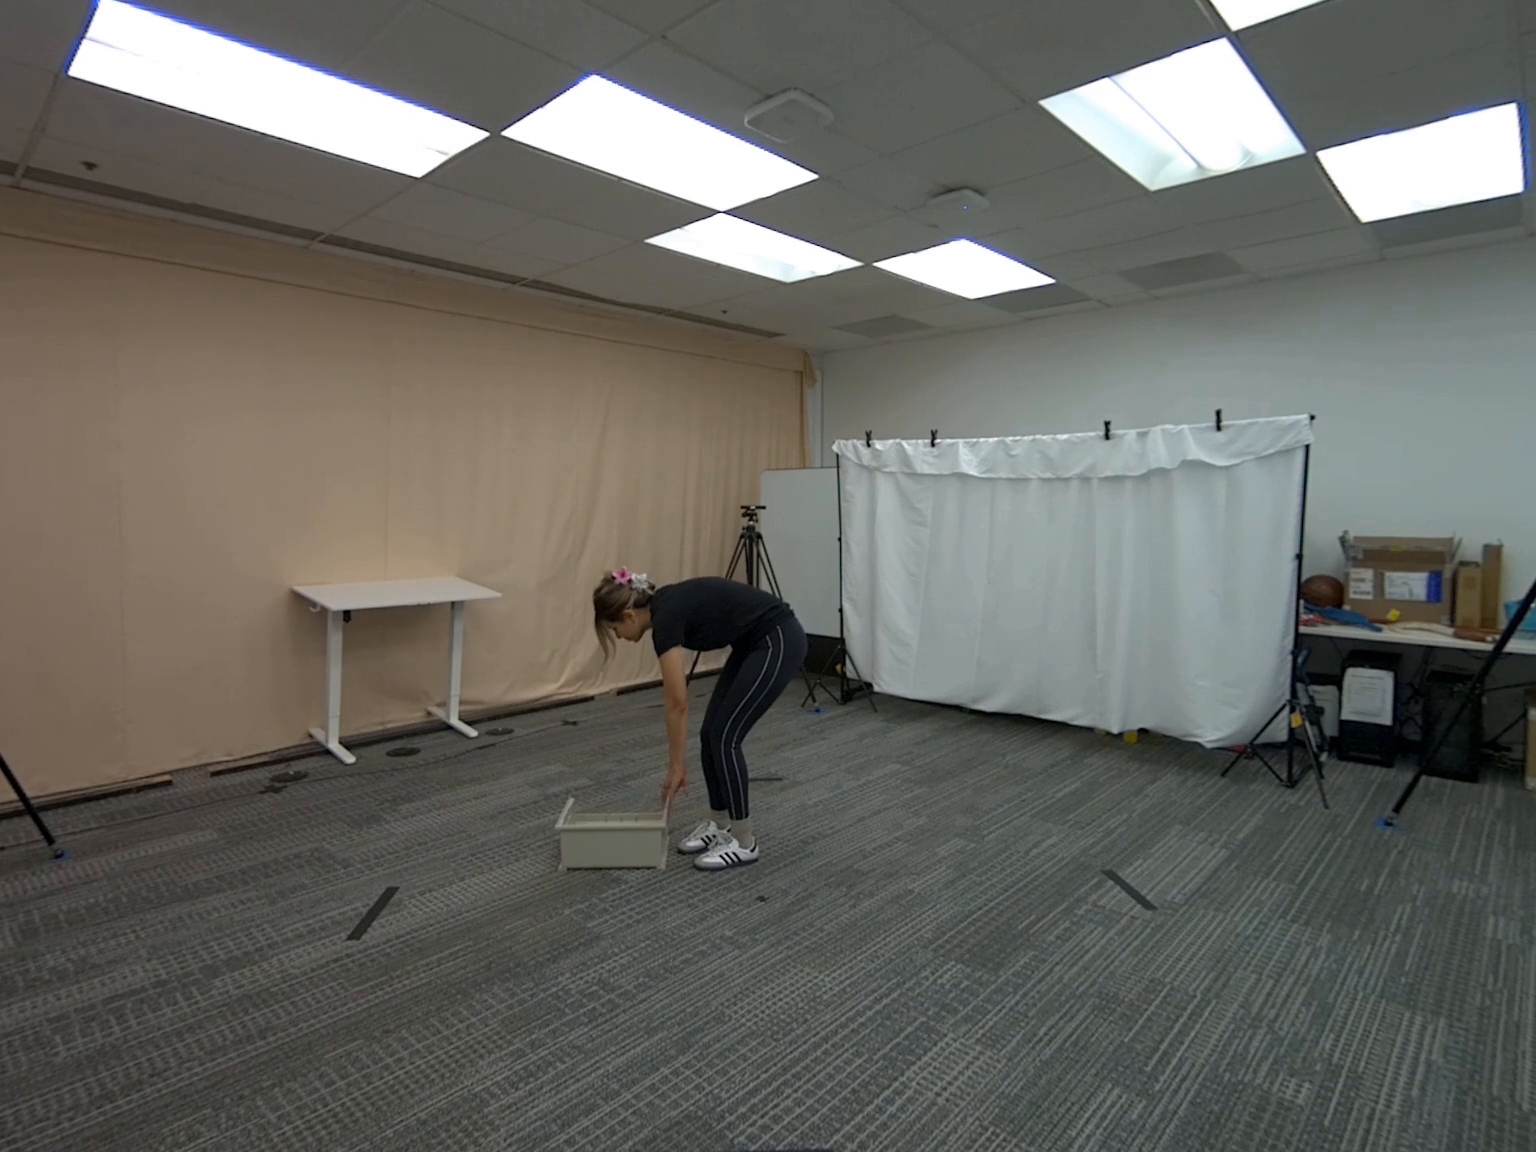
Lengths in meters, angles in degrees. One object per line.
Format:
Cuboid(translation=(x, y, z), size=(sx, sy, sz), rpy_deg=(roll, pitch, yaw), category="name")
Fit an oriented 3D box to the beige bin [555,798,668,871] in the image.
Cuboid(translation=(-0.614, 1.024, 3.401), size=(0.422, 0.188, 0.379), rpy_deg=(0, 5, -2), category="beige bin")
